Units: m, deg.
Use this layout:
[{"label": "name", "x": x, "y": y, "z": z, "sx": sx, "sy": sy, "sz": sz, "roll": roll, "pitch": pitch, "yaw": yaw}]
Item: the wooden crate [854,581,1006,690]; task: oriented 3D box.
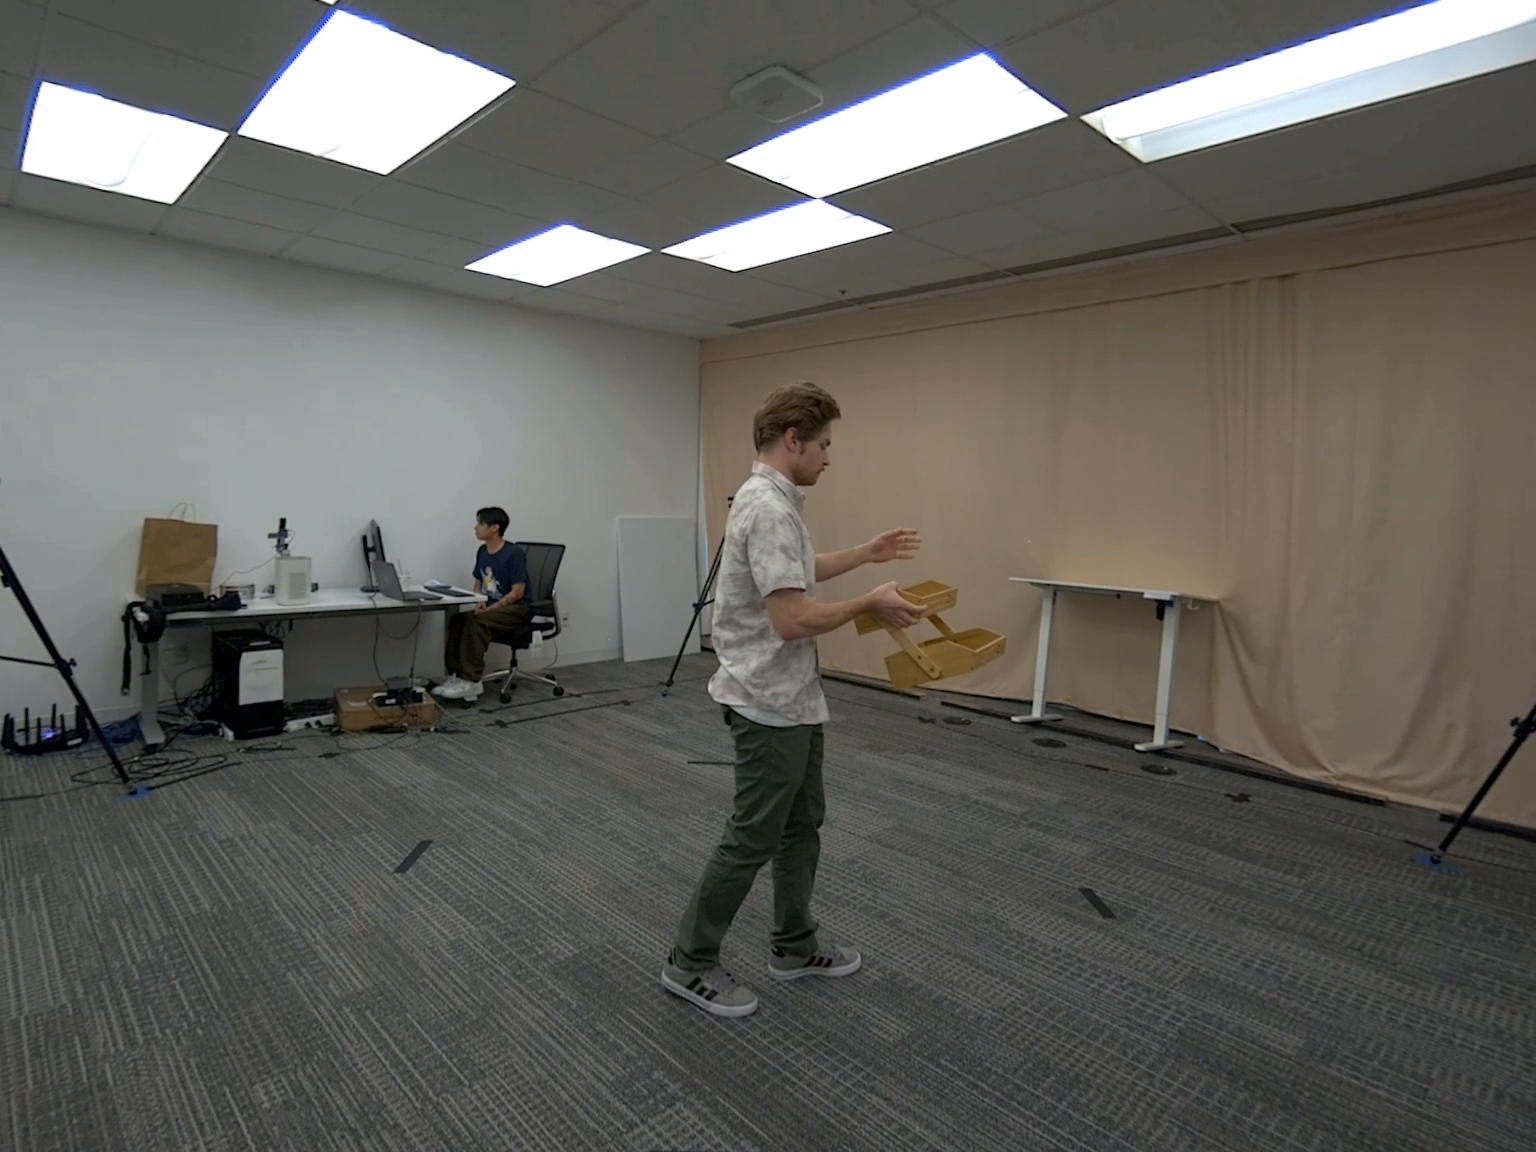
[{"label": "wooden crate", "x": 0.454, "y": 0.146, "z": 2.361, "sx": 0.306, "sy": 0.275, "sz": 0.318, "roll": -20, "pitch": -6, "yaw": 29}]
